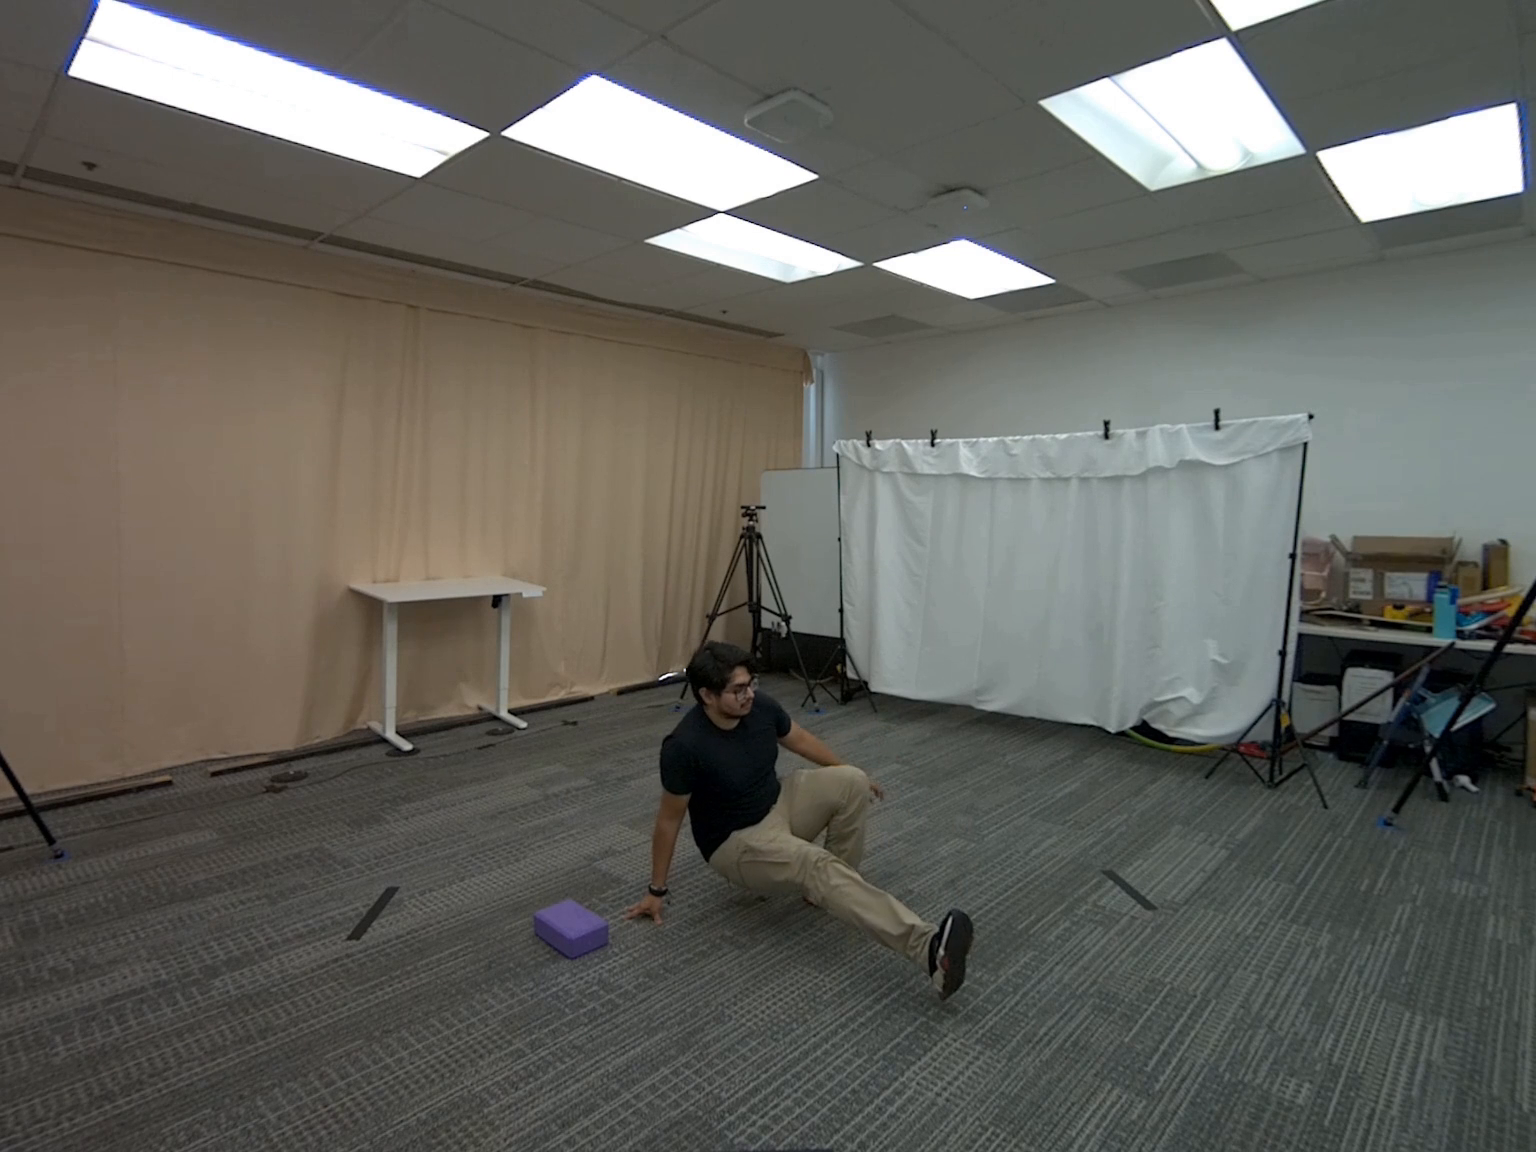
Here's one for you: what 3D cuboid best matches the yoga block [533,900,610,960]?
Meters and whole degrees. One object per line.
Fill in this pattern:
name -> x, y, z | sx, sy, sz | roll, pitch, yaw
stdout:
yoga block -> -0.635, 1.139, 2.709 | 0.237, 0.076, 0.144 | 3, 6, 45
